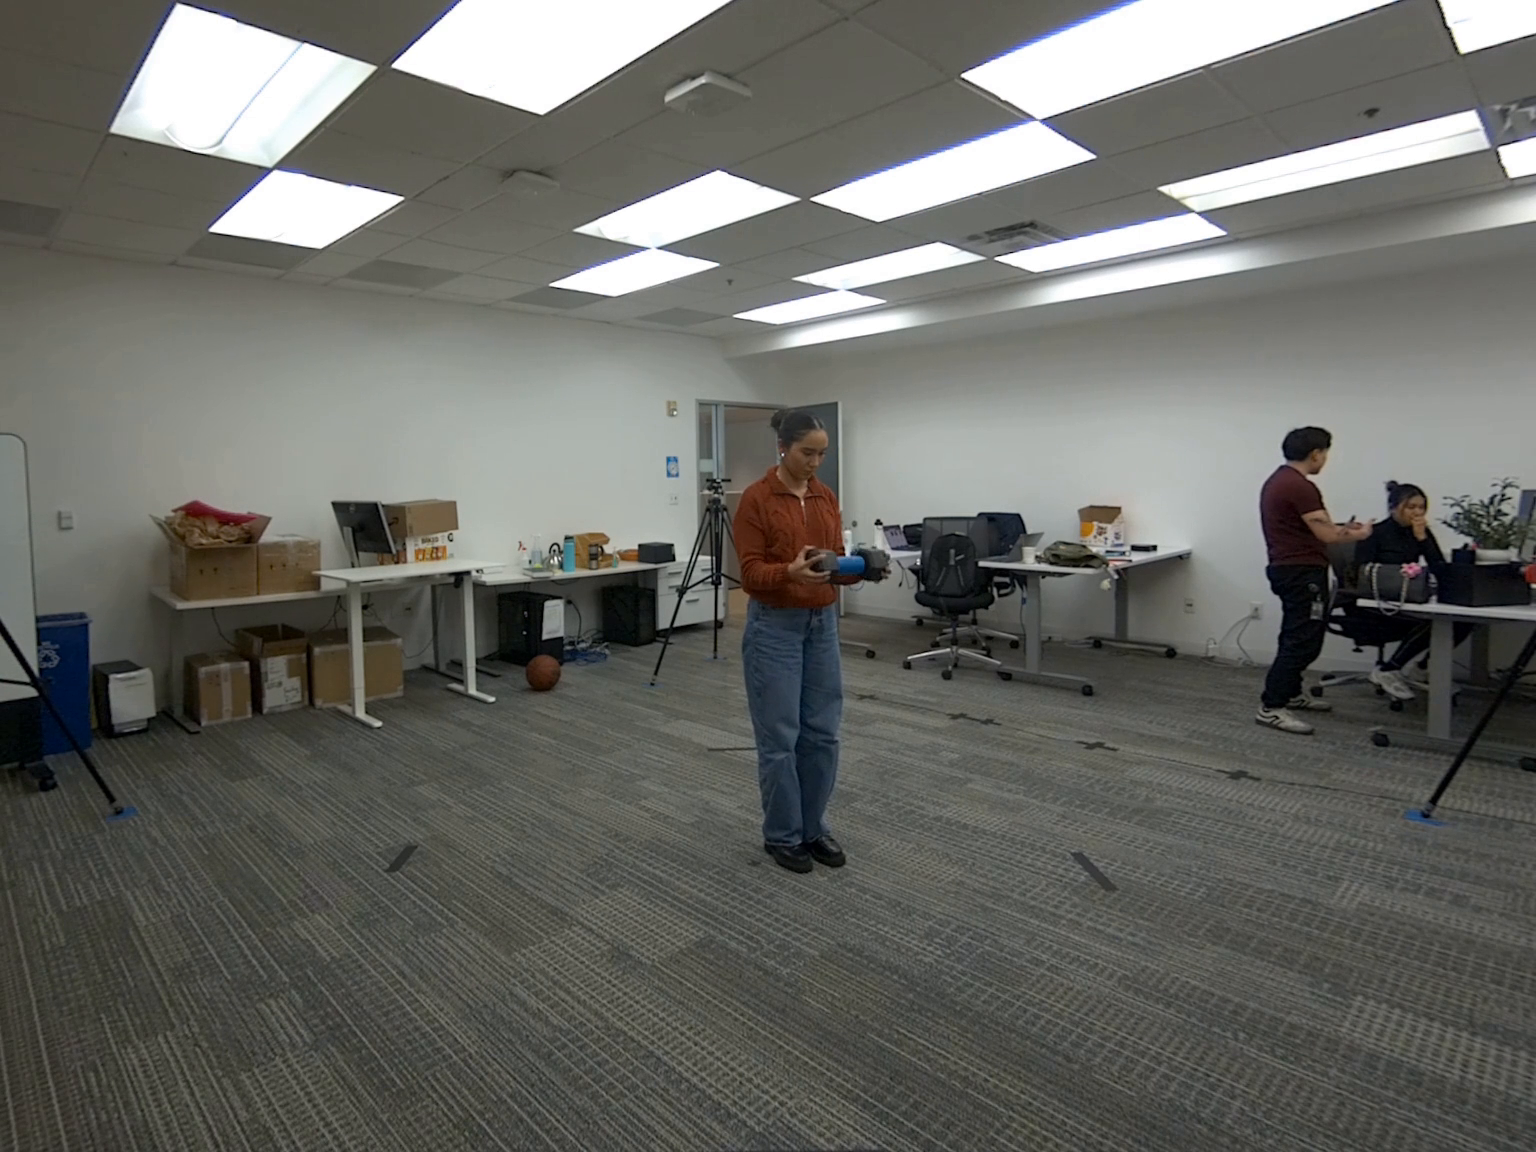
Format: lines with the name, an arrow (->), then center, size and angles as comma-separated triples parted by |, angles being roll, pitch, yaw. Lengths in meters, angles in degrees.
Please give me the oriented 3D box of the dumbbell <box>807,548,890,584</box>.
dumbbell -> 0.252, -0.034, 2.893 | 0.286, 0.108, 0.127 | -2, 10, -30
